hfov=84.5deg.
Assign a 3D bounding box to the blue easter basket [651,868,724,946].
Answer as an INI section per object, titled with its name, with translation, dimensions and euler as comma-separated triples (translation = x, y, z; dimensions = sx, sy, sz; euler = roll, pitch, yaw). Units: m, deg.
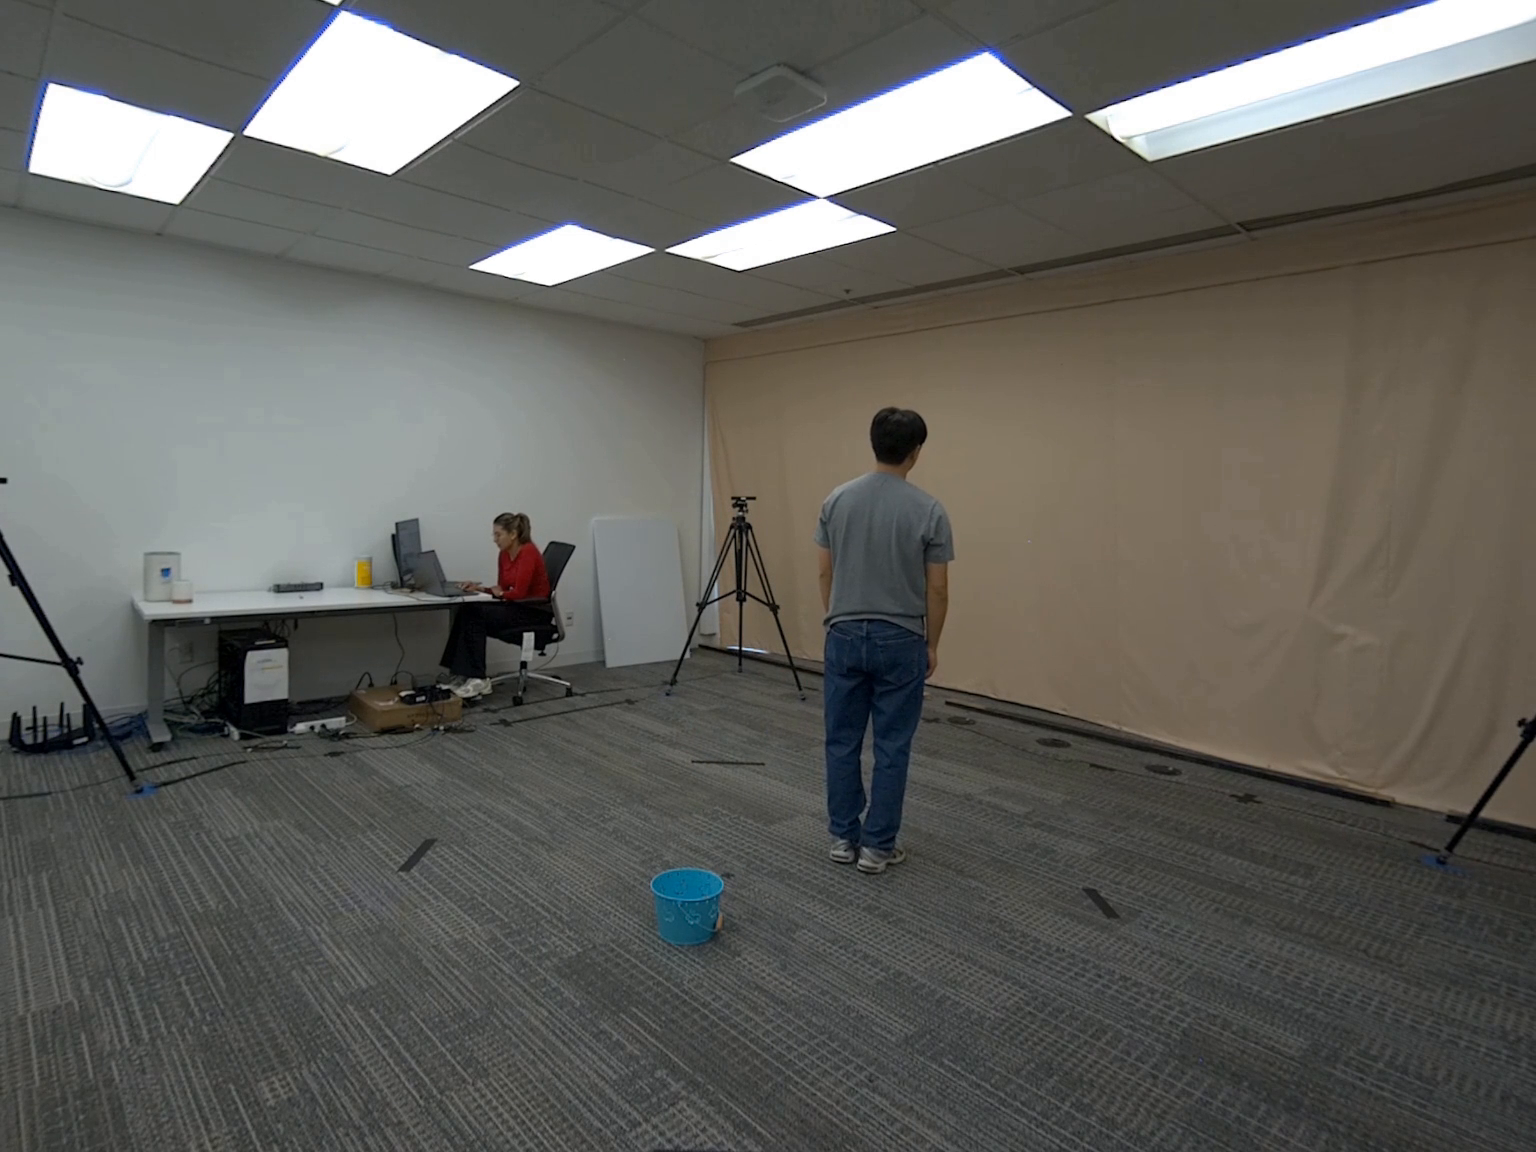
[blue easter basket]
translation = -0.263, 1.062, 2.694
dimensions = 0.243, 0.155, 0.244
euler = 1, 4, -1
